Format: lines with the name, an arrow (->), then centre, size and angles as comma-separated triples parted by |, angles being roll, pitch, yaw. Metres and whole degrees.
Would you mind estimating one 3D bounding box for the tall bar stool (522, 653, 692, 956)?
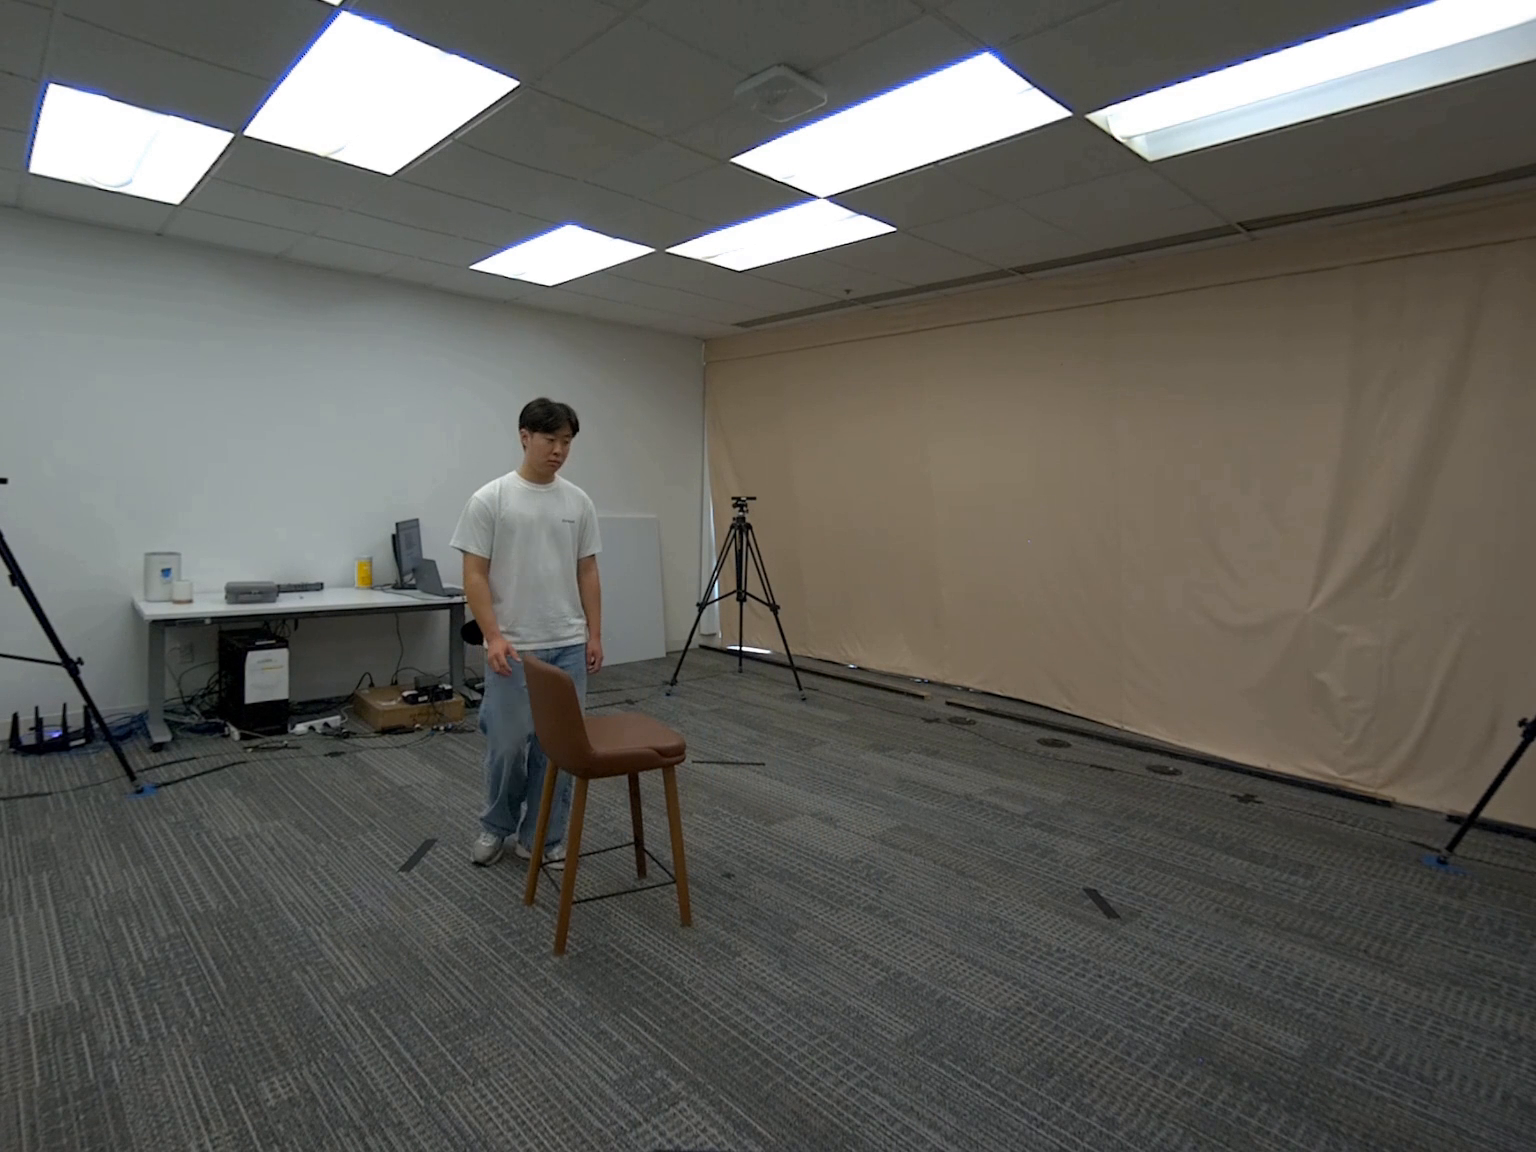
tall bar stool -> -0.539, 0.696, 2.774 | 0.458, 0.887, 0.467 | -2, 5, -30
